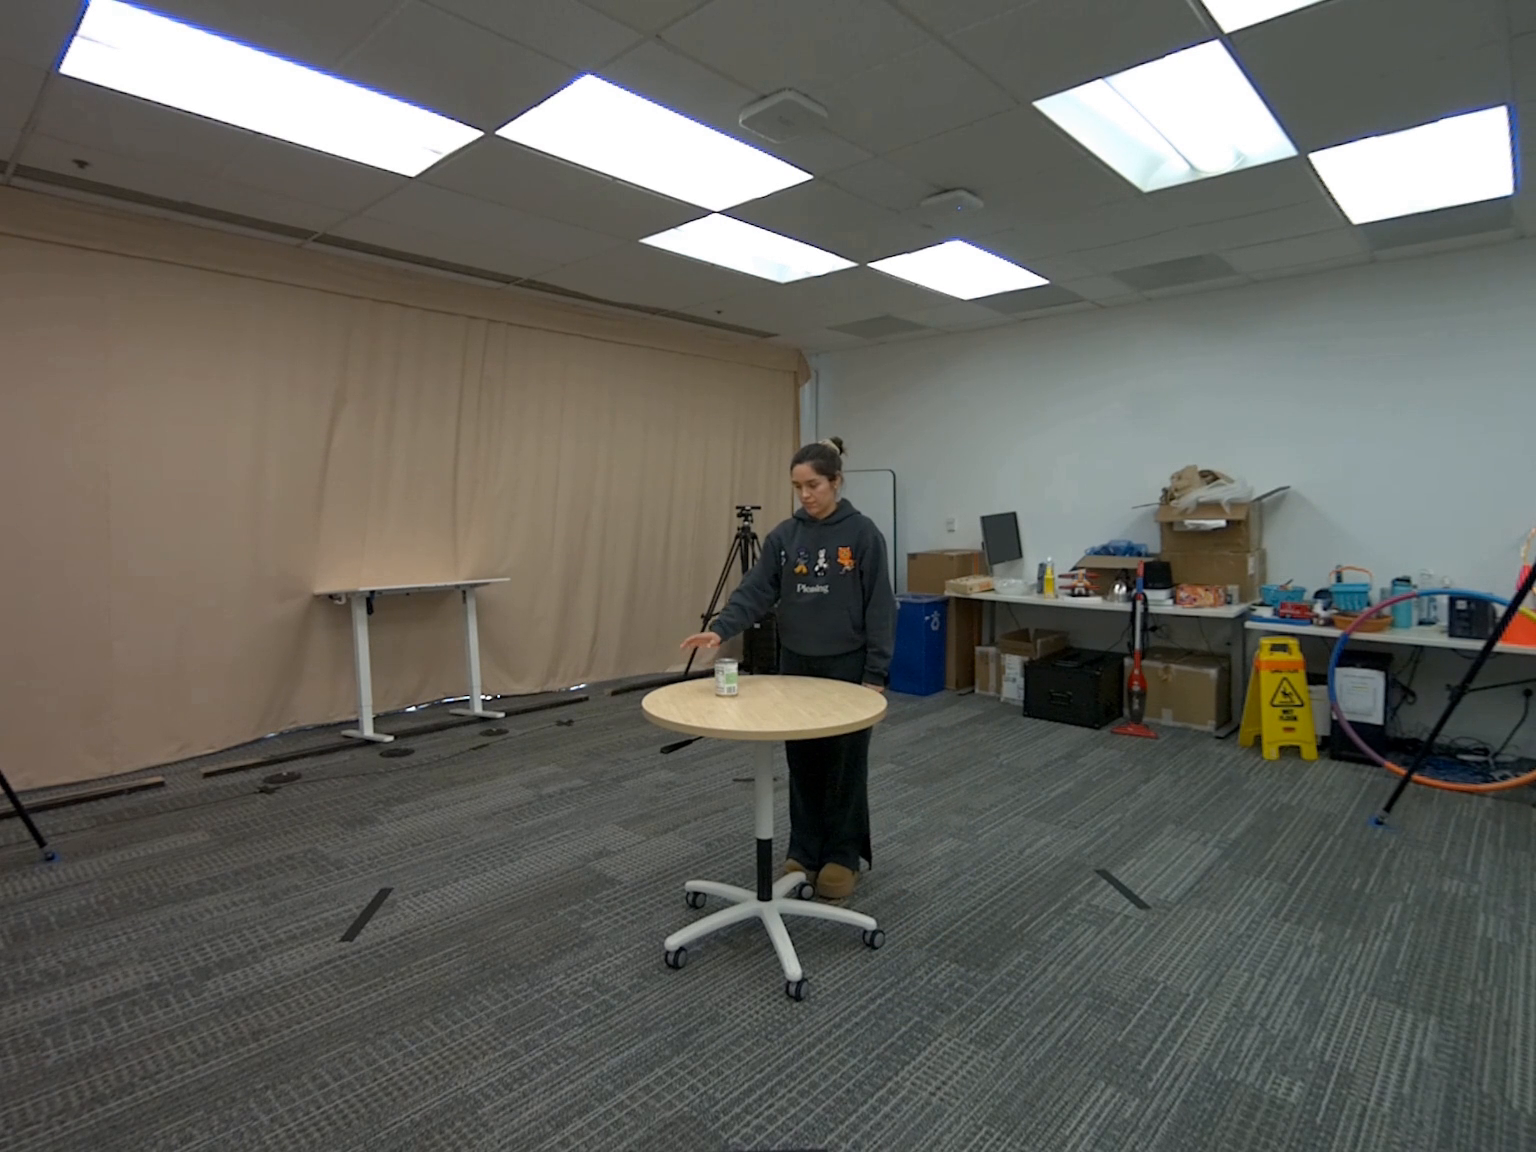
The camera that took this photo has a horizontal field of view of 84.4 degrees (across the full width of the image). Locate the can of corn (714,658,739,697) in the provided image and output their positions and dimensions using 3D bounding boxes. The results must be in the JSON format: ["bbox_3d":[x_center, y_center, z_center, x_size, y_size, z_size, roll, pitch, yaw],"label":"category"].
[{"bbox_3d":[-0.117,0.329,2.710,0.074,0.111,0.074,-3,4,-2],"label":"can of corn"}]
